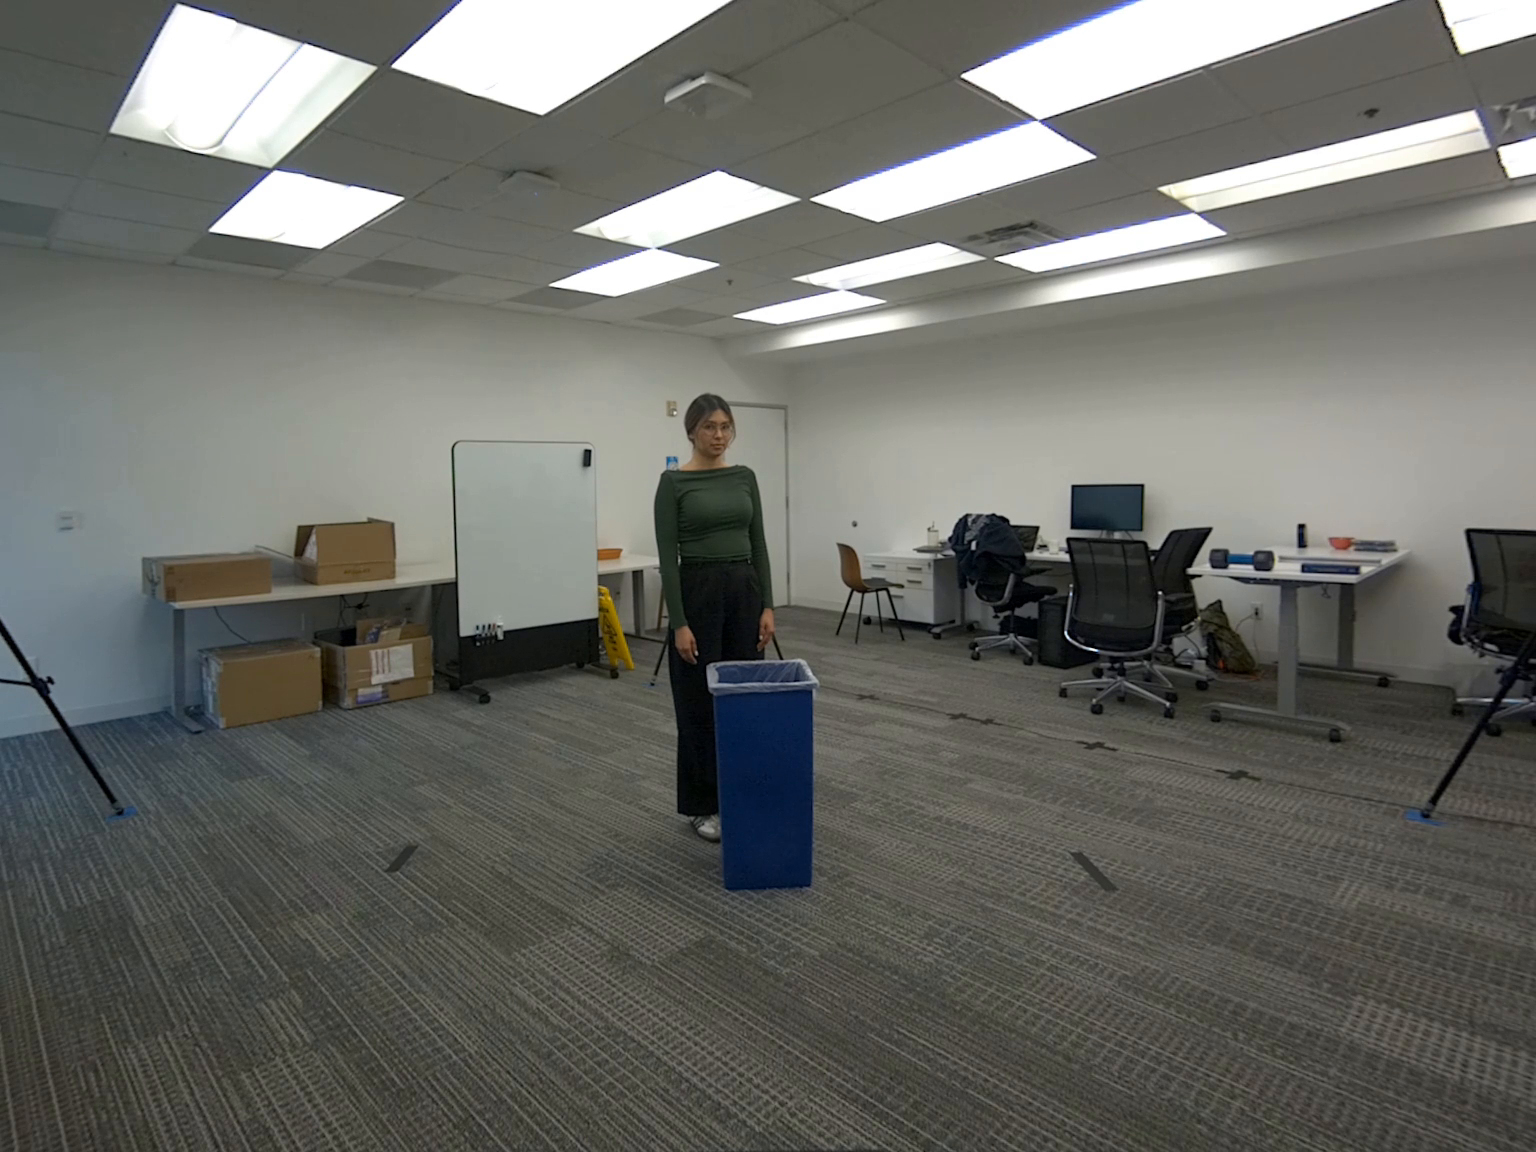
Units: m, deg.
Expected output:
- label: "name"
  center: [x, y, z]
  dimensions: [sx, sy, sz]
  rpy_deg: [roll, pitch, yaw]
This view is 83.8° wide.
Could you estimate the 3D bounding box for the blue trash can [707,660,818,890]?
- label: "blue trash can"
  center: [-0.015, 0.695, 3.033]
  dimensions: [0.377, 0.711, 0.376]
  rpy_deg: [-2, 3, -4]
